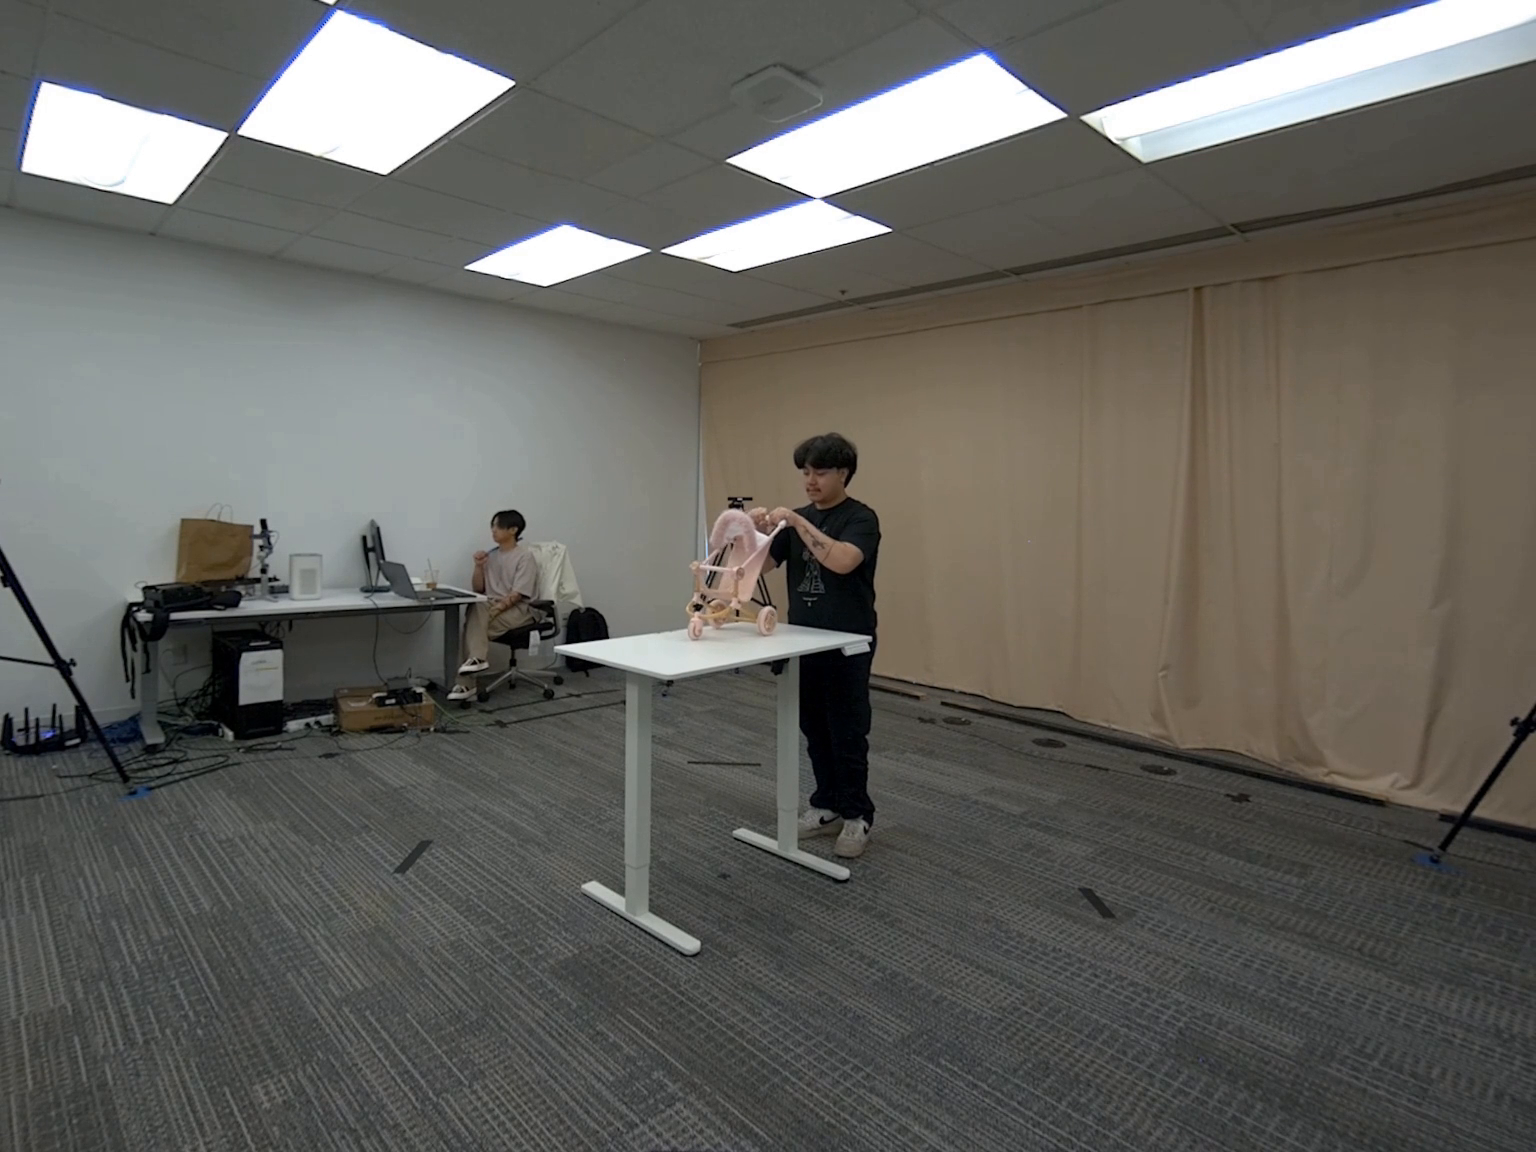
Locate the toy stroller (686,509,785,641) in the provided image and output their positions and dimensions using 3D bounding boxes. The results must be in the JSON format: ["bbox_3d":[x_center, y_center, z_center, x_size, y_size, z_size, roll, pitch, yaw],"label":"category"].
[{"bbox_3d":[-0.150,-0.008,3.142,0.288,0.537,0.331,4,-8,43],"label":"toy stroller"}]
